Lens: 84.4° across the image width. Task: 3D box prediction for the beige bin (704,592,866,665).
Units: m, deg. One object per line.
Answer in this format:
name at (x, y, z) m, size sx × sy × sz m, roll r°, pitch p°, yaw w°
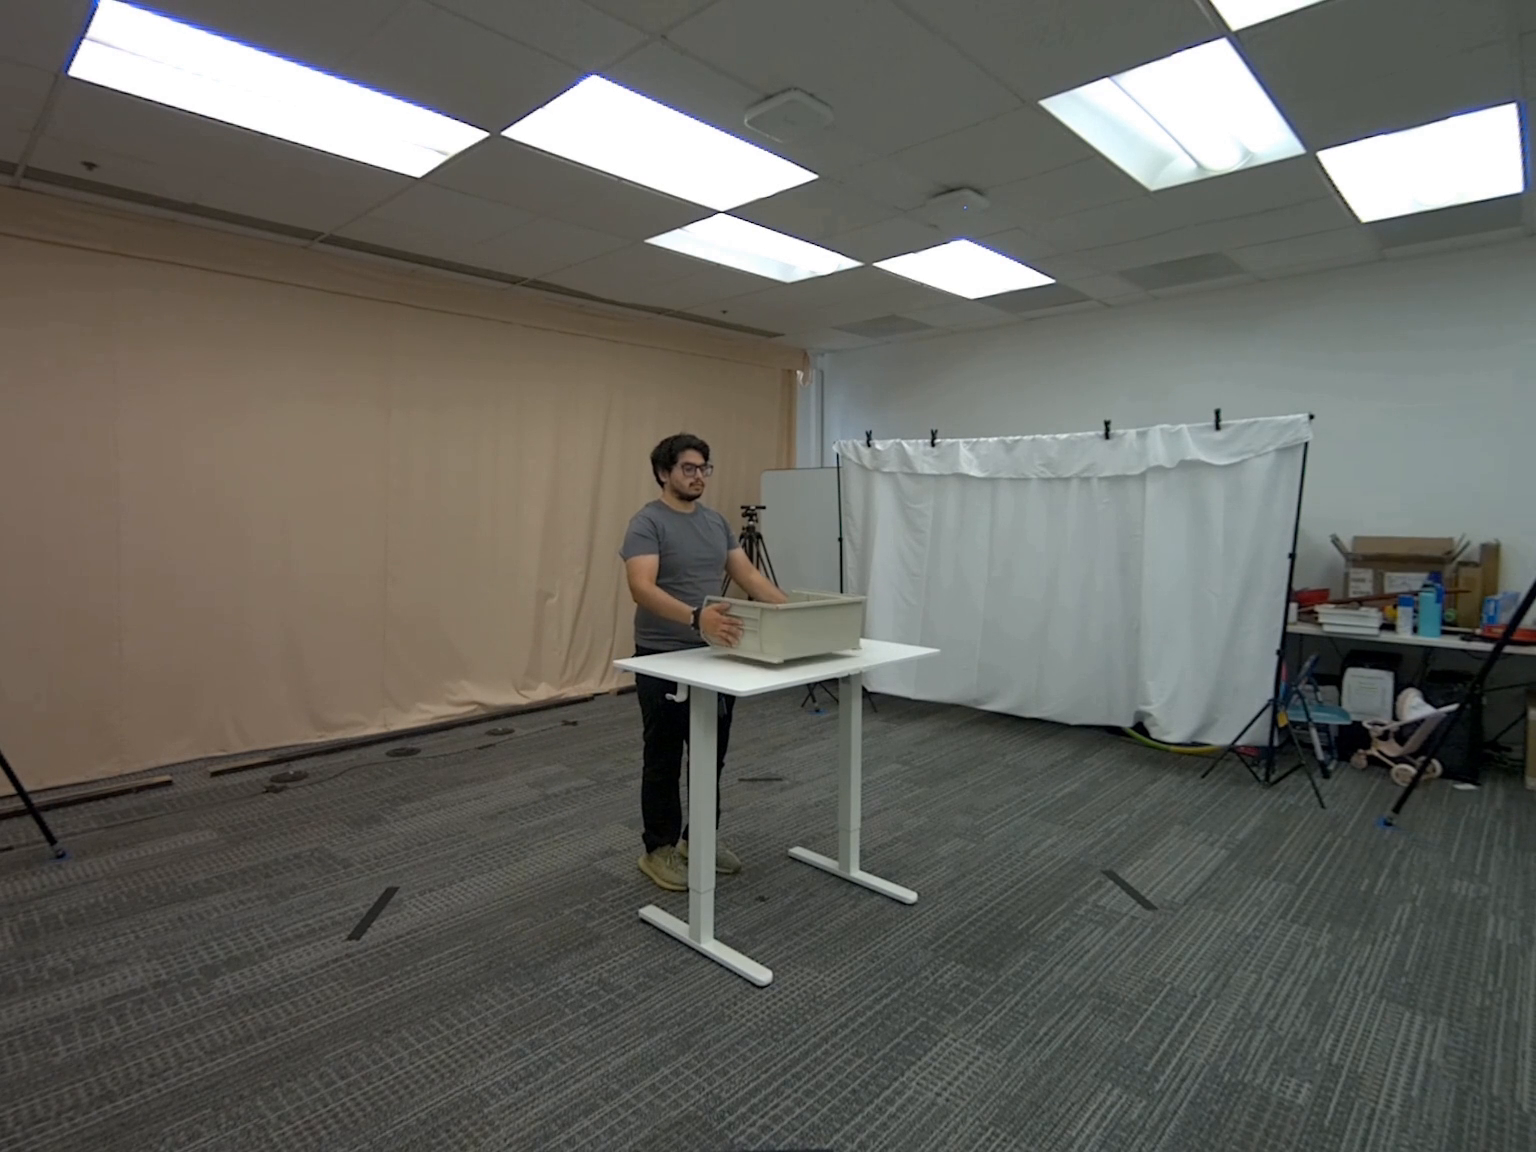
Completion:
beige bin at (0.061, 0.153, 2.812) m, size 0.409 × 0.188 × 0.390 m, roll -3°, pitch 7°, yaw -44°
